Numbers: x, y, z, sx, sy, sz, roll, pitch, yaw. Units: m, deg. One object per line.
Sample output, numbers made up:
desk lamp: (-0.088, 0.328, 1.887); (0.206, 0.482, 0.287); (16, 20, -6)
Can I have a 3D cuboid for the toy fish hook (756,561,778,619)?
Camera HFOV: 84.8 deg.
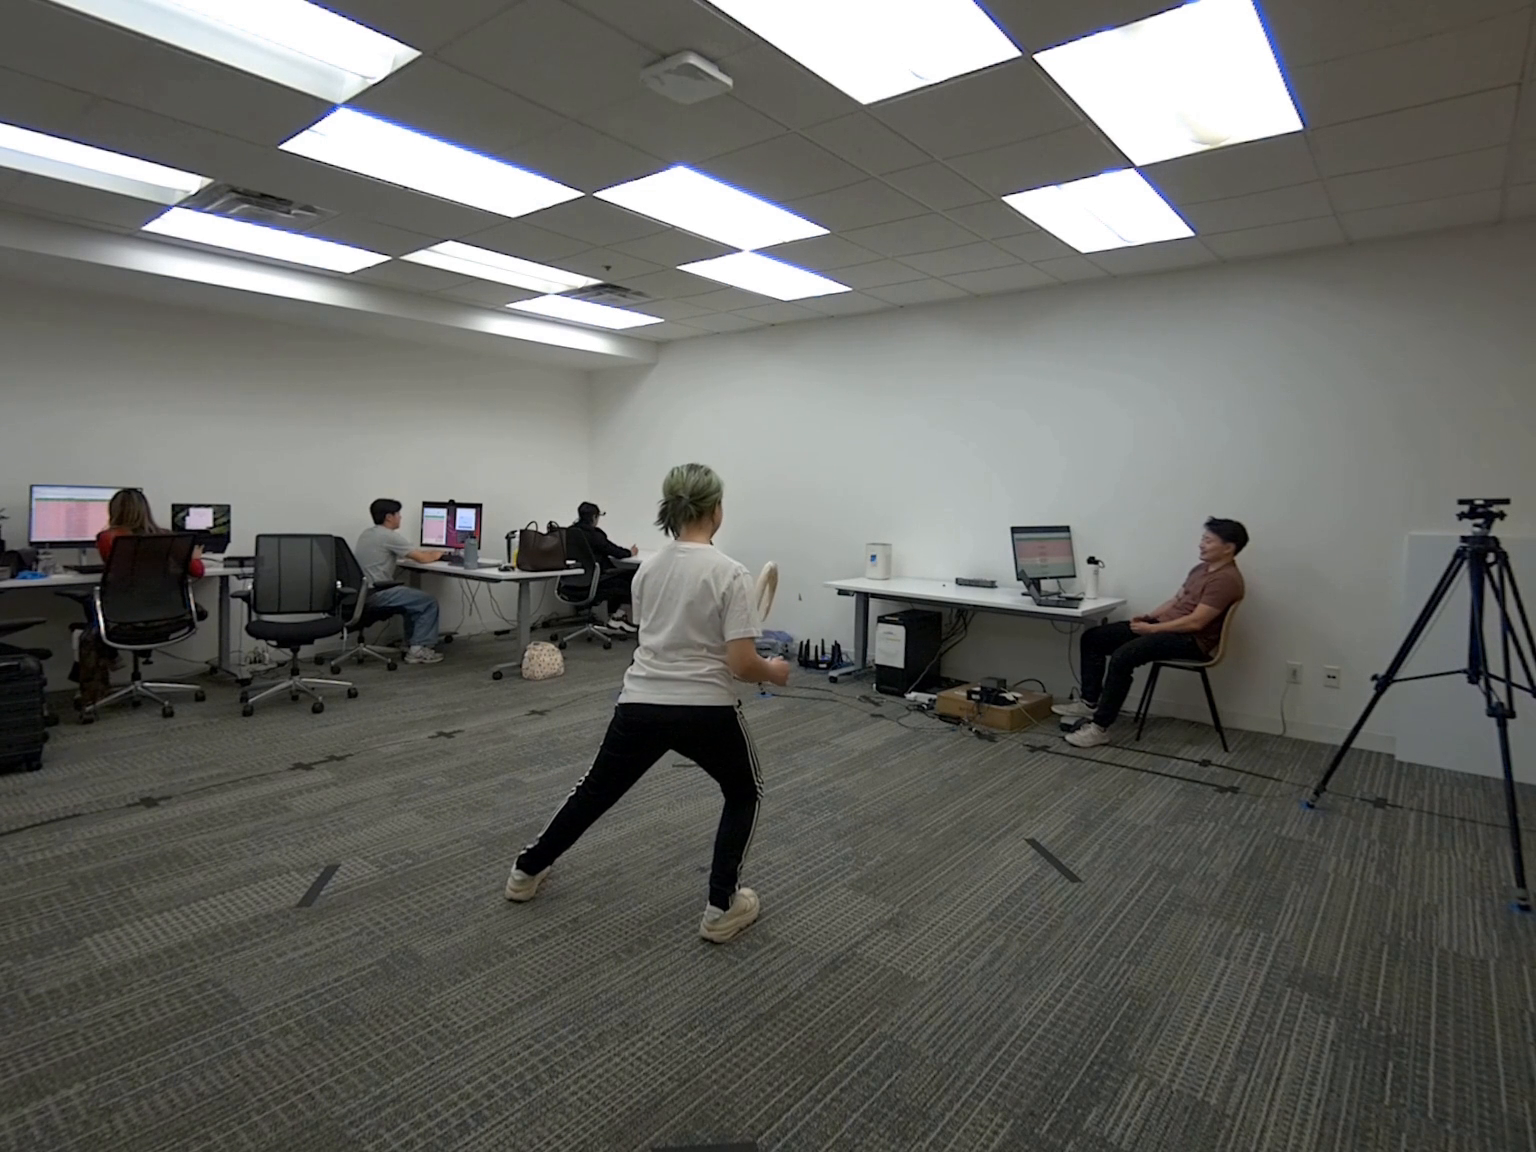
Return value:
toy fish hook: (-0.065, 0.170, 3.126); (0.049, 0.513, 0.216); (9, -34, 20)
